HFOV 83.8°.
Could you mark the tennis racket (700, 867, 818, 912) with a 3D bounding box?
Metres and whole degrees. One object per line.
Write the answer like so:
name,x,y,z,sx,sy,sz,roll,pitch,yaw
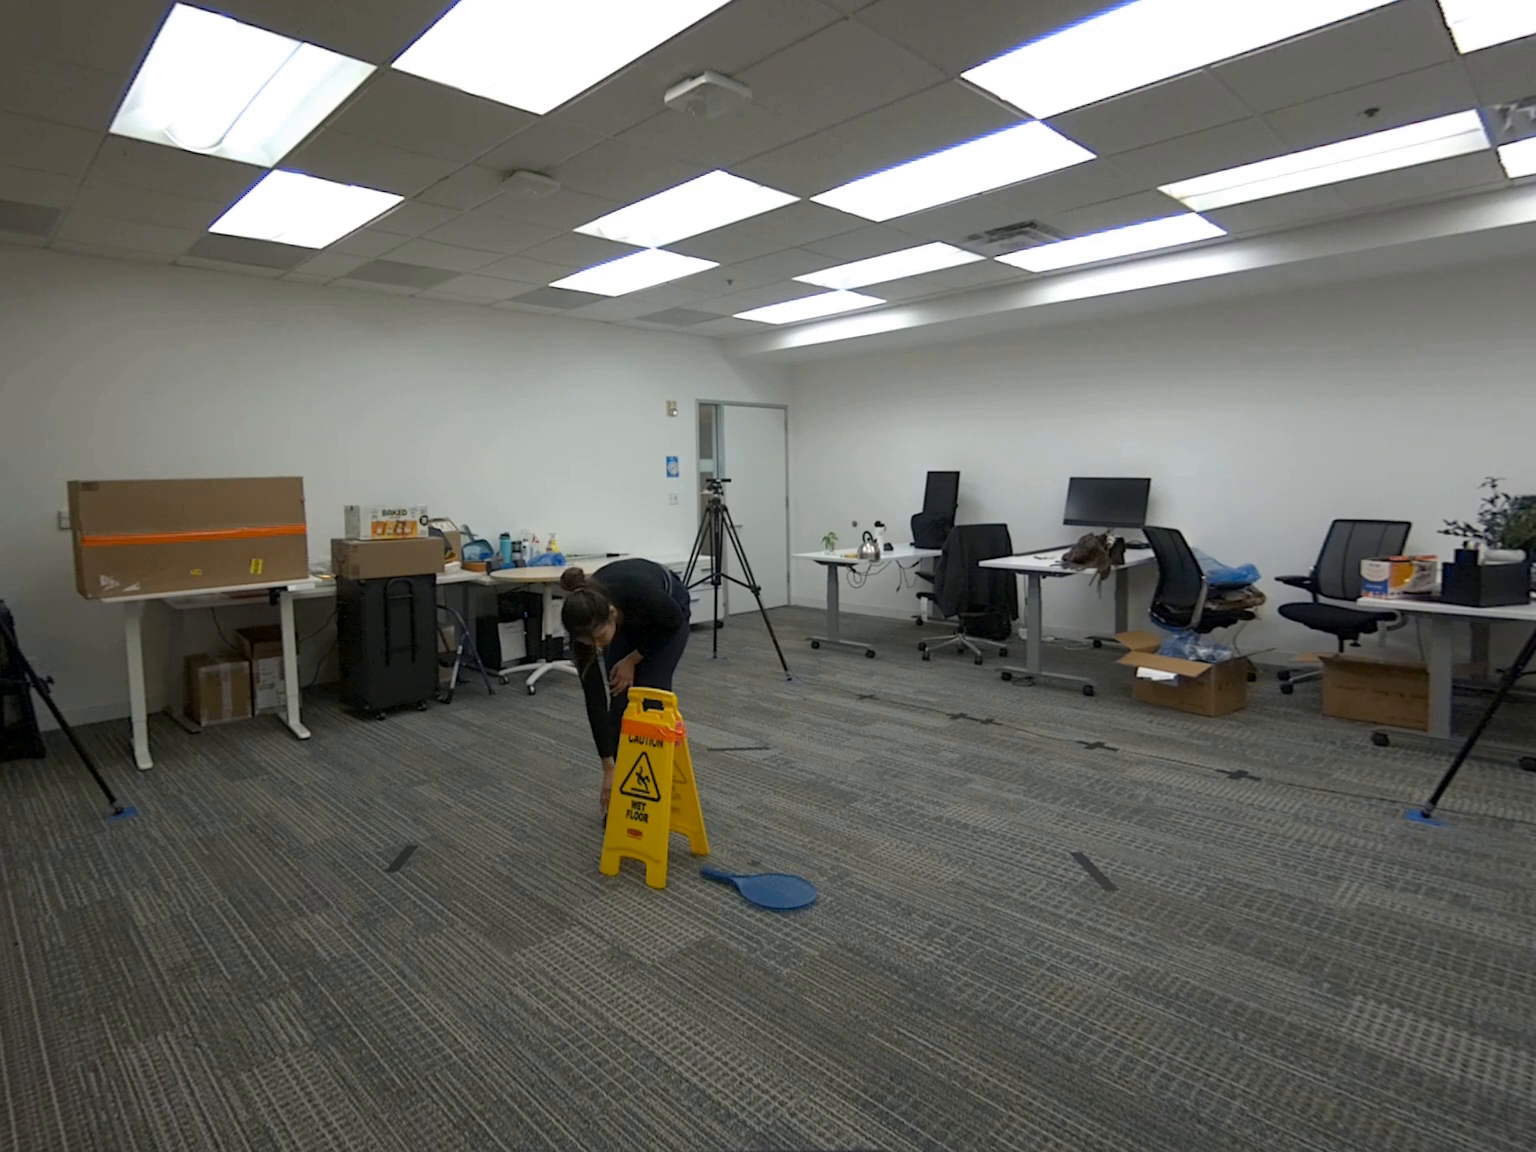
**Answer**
tennis racket,-0.060,1.038,2.910,0.444,0.031,0.209,3,10,30
